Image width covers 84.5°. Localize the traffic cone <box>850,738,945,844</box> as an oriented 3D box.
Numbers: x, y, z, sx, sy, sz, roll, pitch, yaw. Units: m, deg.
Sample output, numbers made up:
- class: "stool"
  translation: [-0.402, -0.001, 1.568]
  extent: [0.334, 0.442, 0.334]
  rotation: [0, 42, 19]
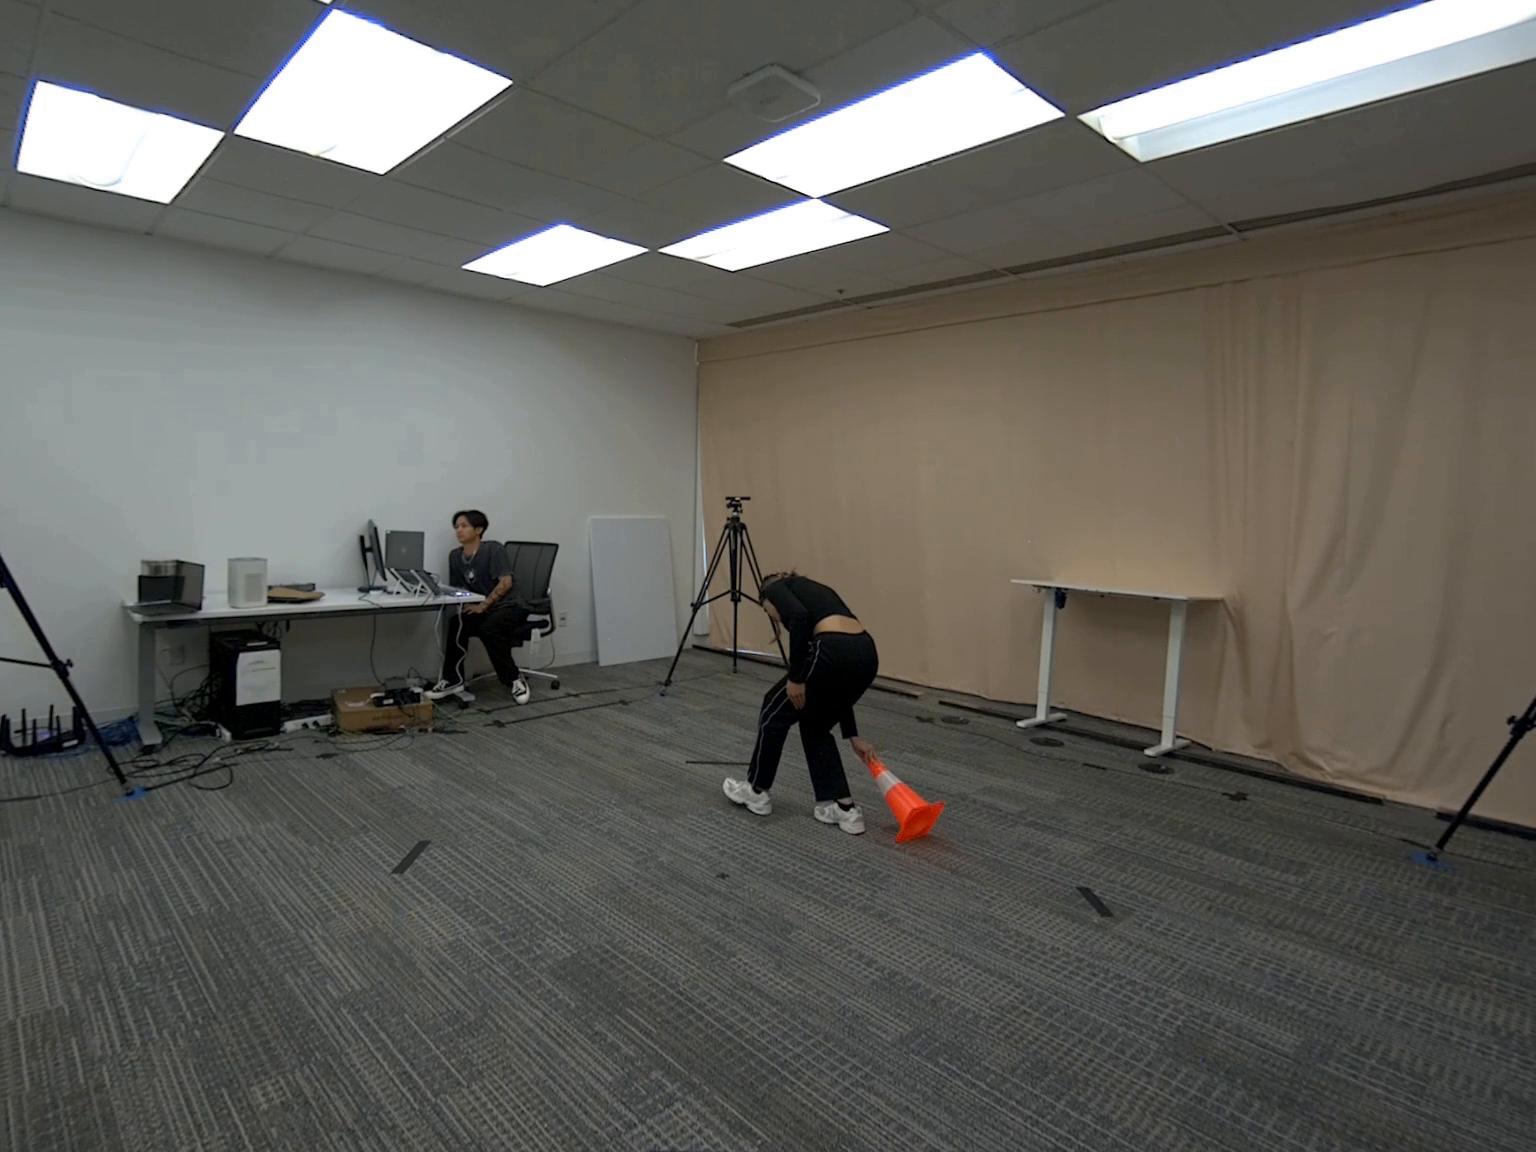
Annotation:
- class: "traffic cone"
  translation: [0.521, 0.902, 3.588]
  extent: [0.200, 0.201, 0.396]
  rotation: [2, 32, -33]
